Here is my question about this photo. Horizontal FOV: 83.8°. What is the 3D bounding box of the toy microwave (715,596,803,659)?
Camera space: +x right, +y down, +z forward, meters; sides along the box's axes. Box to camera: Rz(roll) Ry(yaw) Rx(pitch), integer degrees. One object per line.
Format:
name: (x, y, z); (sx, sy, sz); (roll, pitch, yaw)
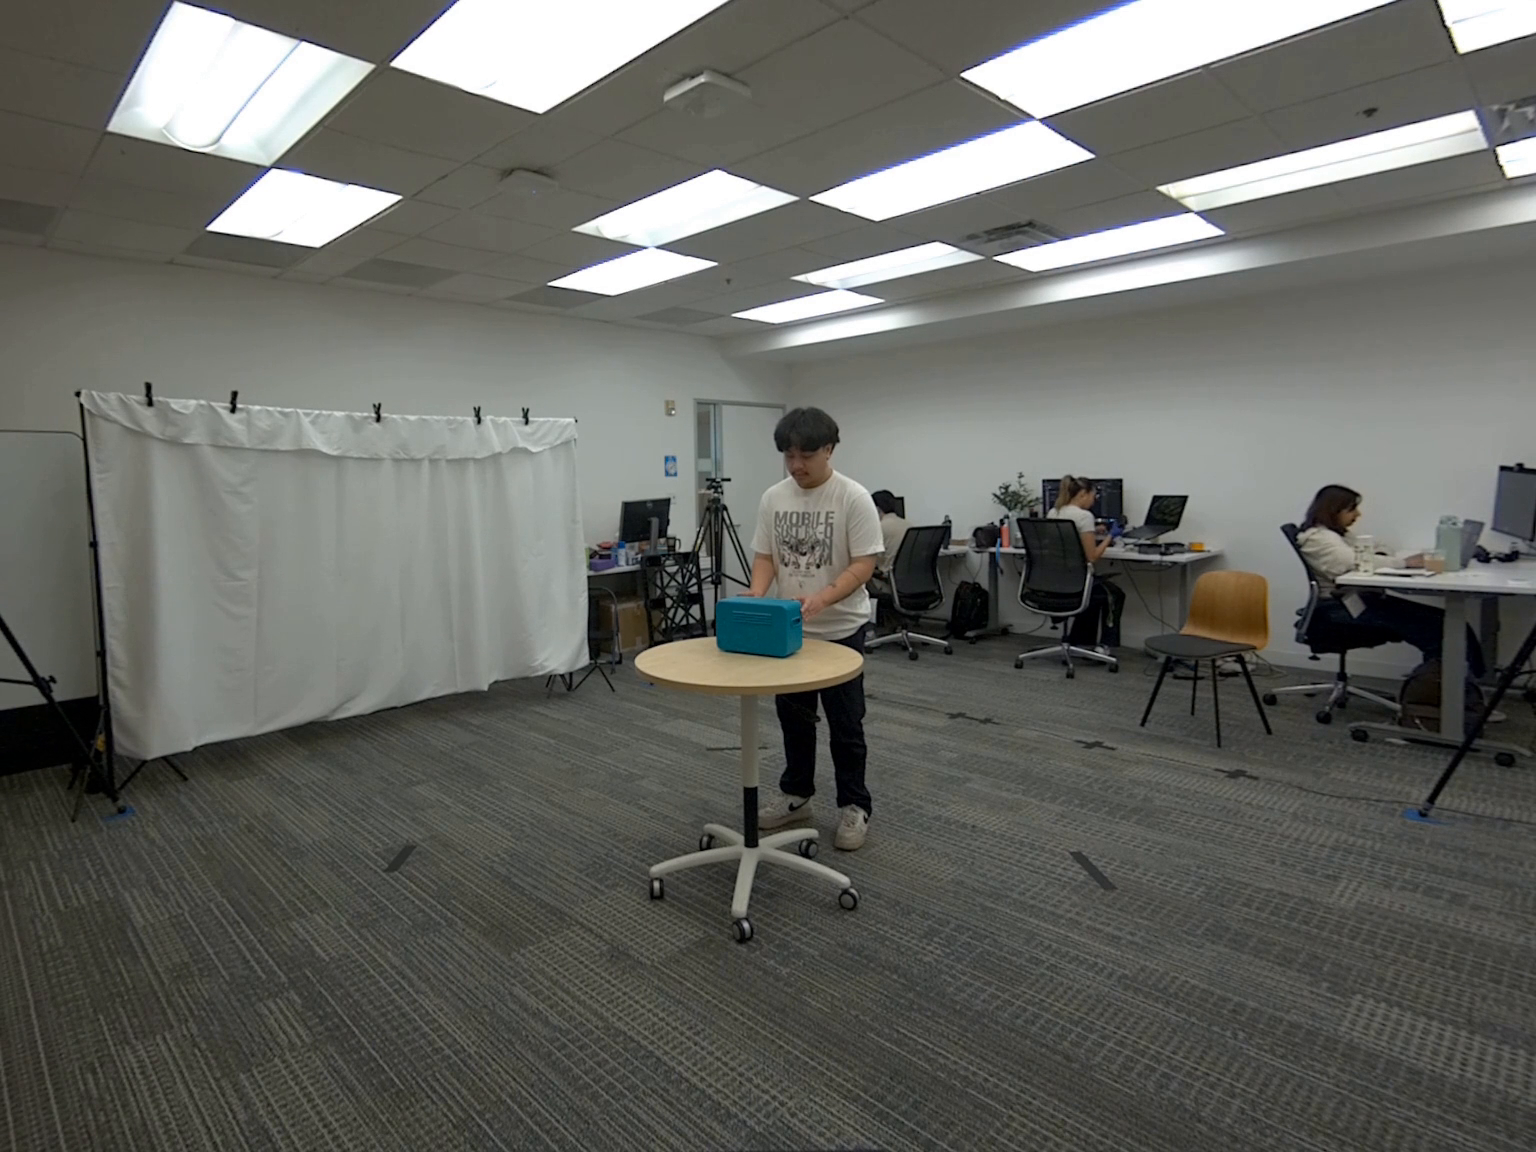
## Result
toy microwave: (-0.025, 0.172, 2.967); (0.294, 0.183, 0.149); (2, 6, 31)
